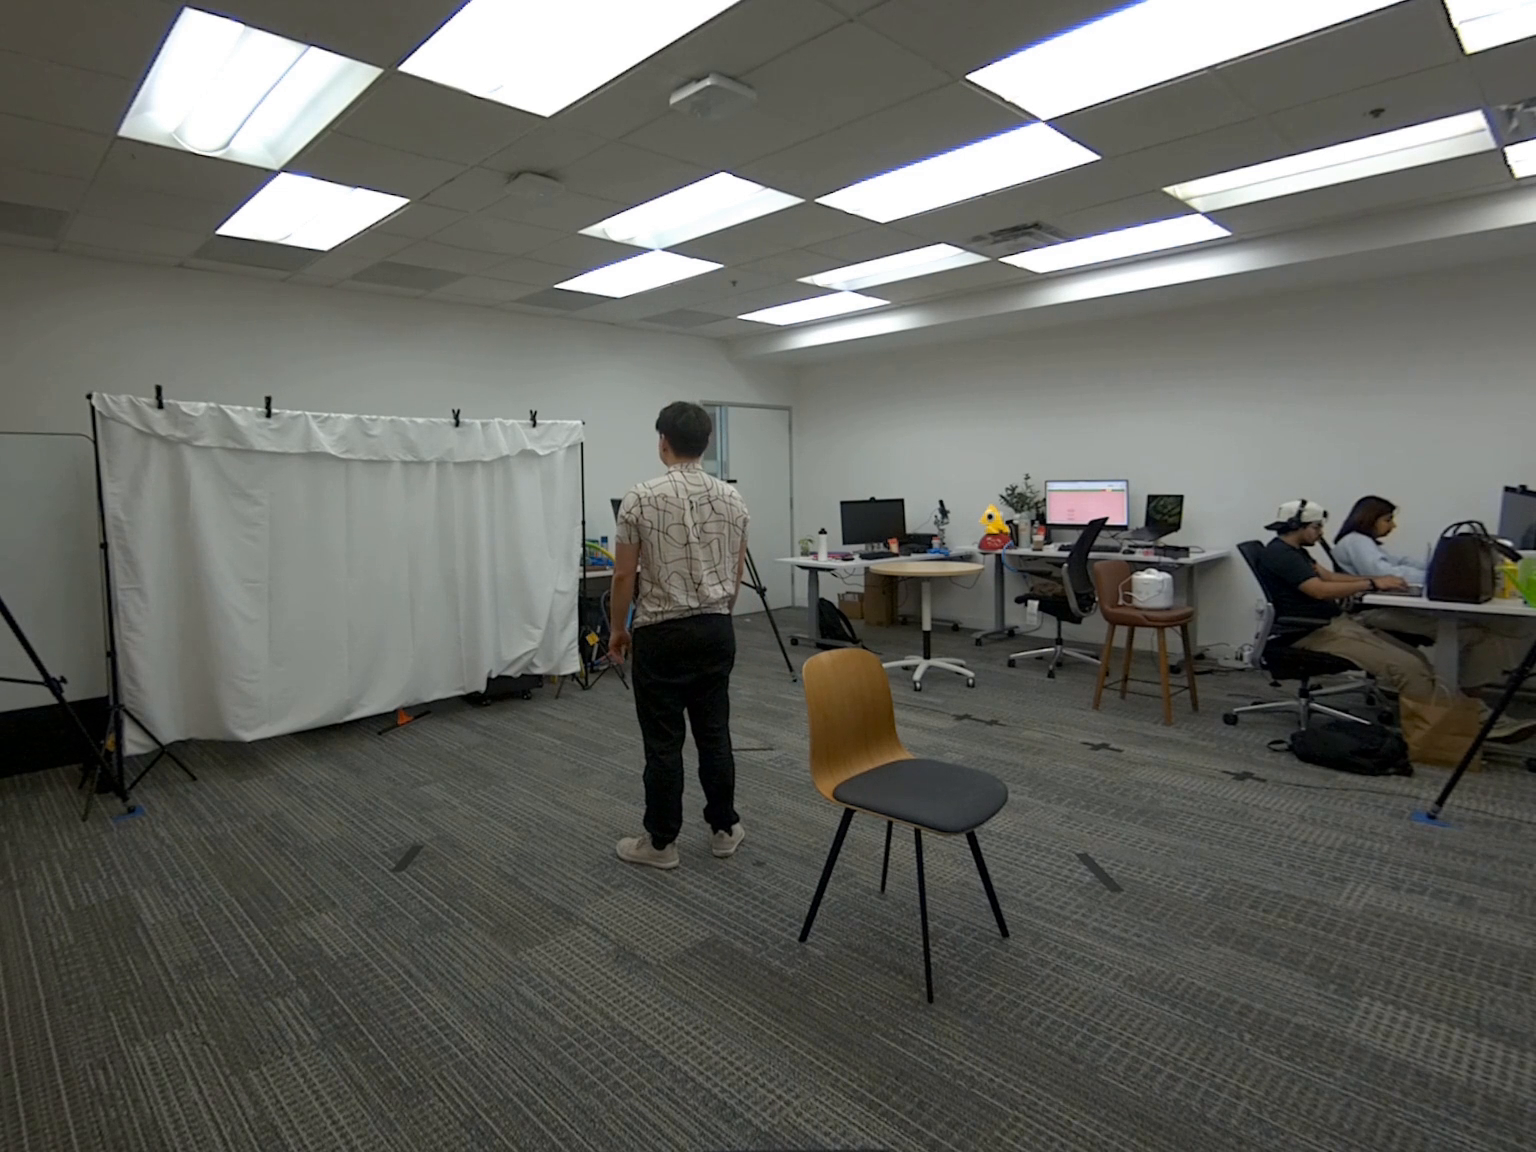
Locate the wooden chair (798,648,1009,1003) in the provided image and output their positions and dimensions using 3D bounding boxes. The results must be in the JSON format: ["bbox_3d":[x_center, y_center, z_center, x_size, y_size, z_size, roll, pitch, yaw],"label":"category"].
[{"bbox_3d":[0.411,0.675,2.546,0.537,0.877,0.465,-3,1,43],"label":"wooden chair"}]
